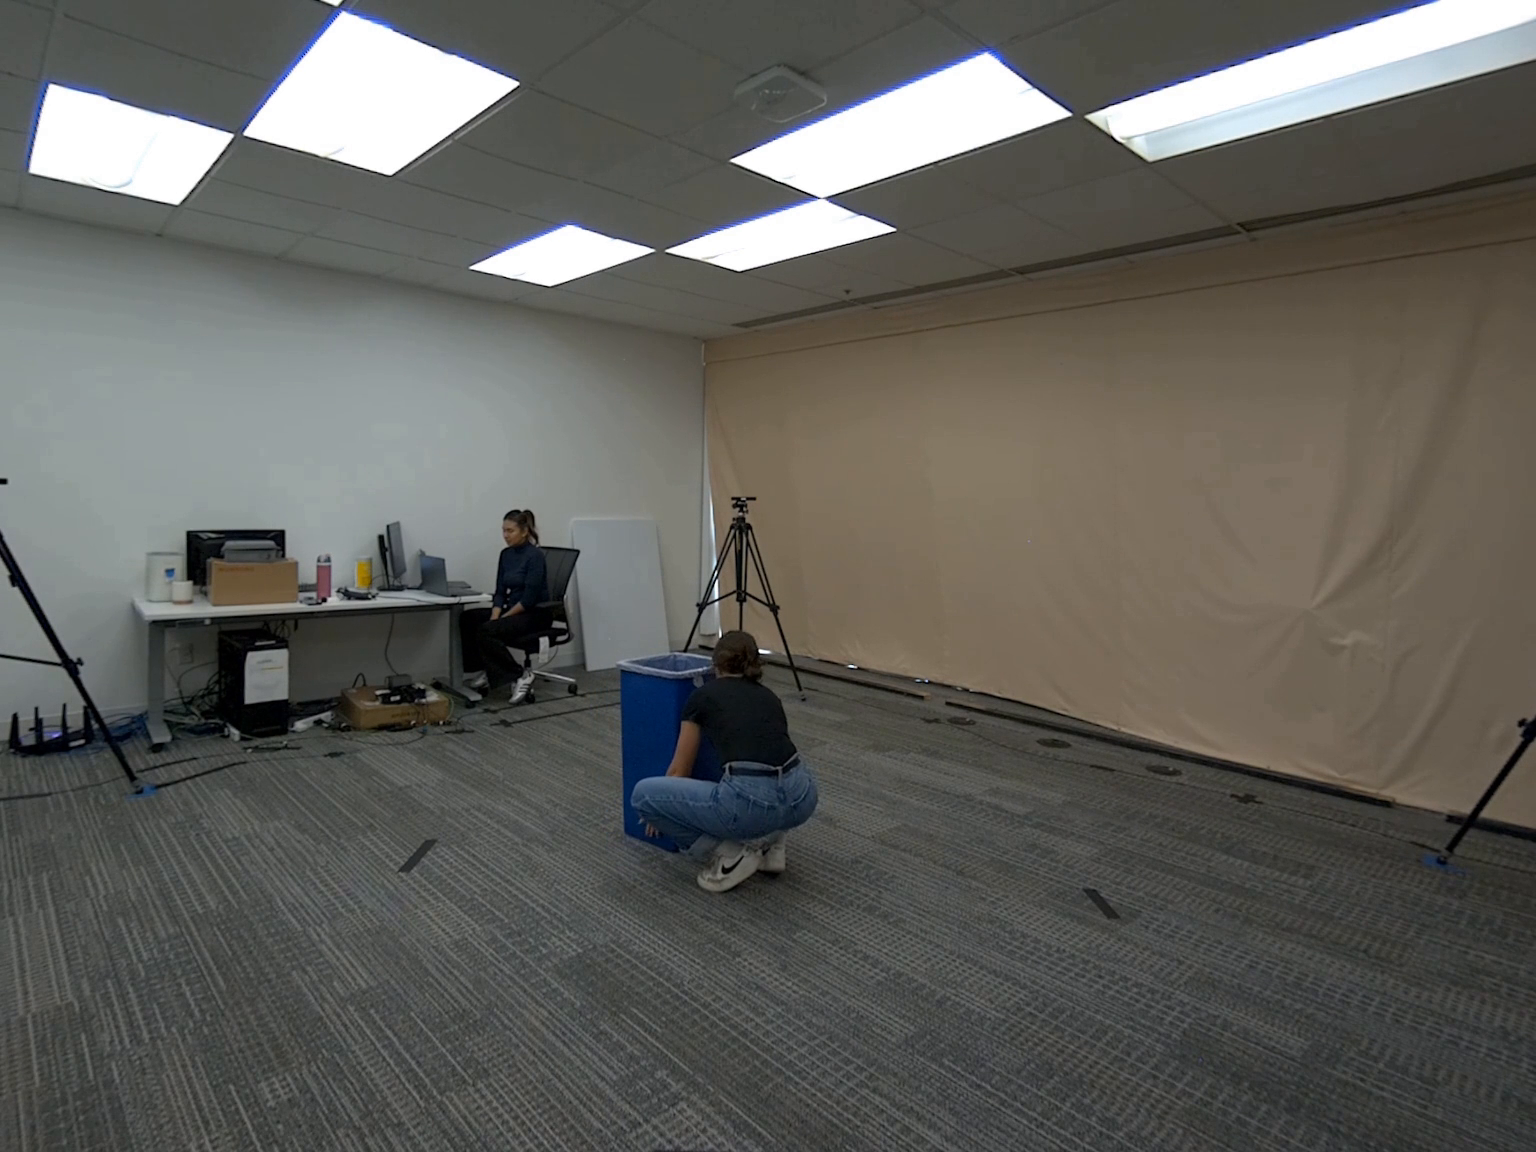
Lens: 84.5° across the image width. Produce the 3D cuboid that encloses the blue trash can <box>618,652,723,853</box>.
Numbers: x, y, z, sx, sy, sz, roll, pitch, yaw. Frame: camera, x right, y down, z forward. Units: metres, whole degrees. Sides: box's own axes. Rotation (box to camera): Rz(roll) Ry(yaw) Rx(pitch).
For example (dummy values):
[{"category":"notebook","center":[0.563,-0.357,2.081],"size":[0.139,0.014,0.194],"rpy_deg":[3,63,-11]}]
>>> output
[{"category":"blue trash can","center":[-0.399,0.708,3.488],"size":[0.383,0.712,0.369],"rpy_deg":[4,3,38]}]
